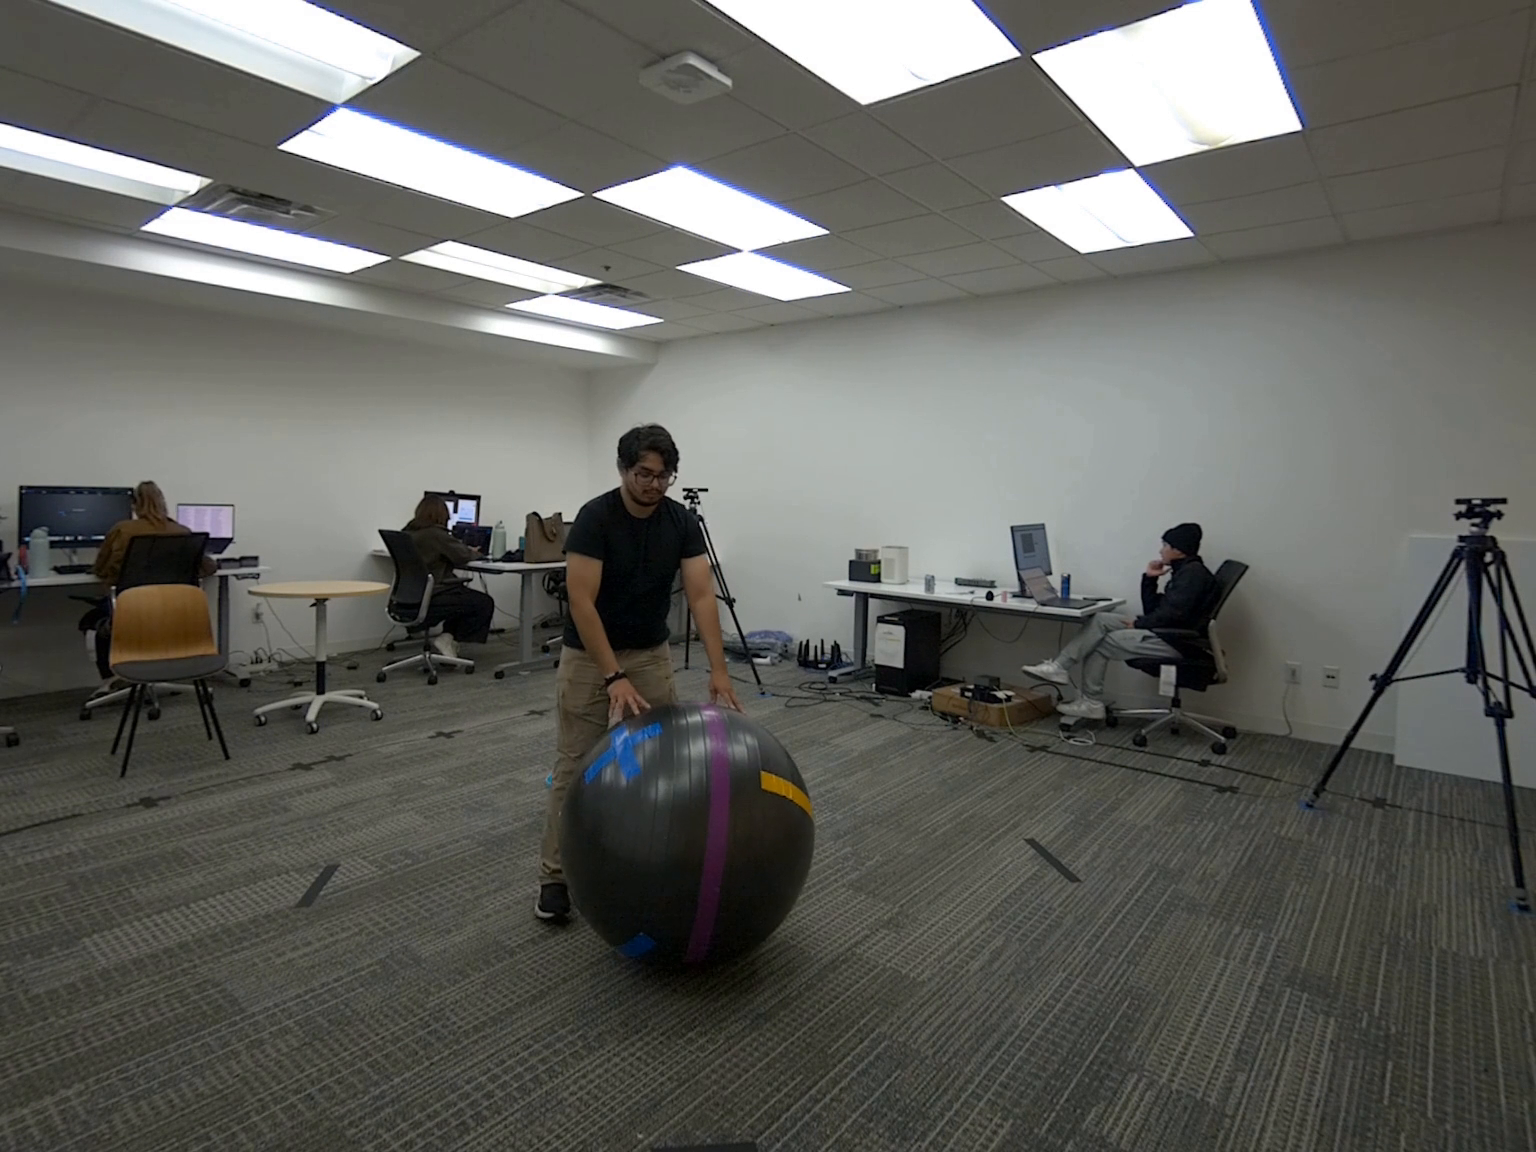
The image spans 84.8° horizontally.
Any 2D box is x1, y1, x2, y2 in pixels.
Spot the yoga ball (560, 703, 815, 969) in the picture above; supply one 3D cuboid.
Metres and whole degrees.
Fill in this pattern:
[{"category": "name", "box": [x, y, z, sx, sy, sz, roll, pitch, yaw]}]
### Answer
[{"category": "yoga ball", "box": [-0.249, 0.760, 2.537, 0.757, 0.755, 0.762, 1, 4, -2]}]
